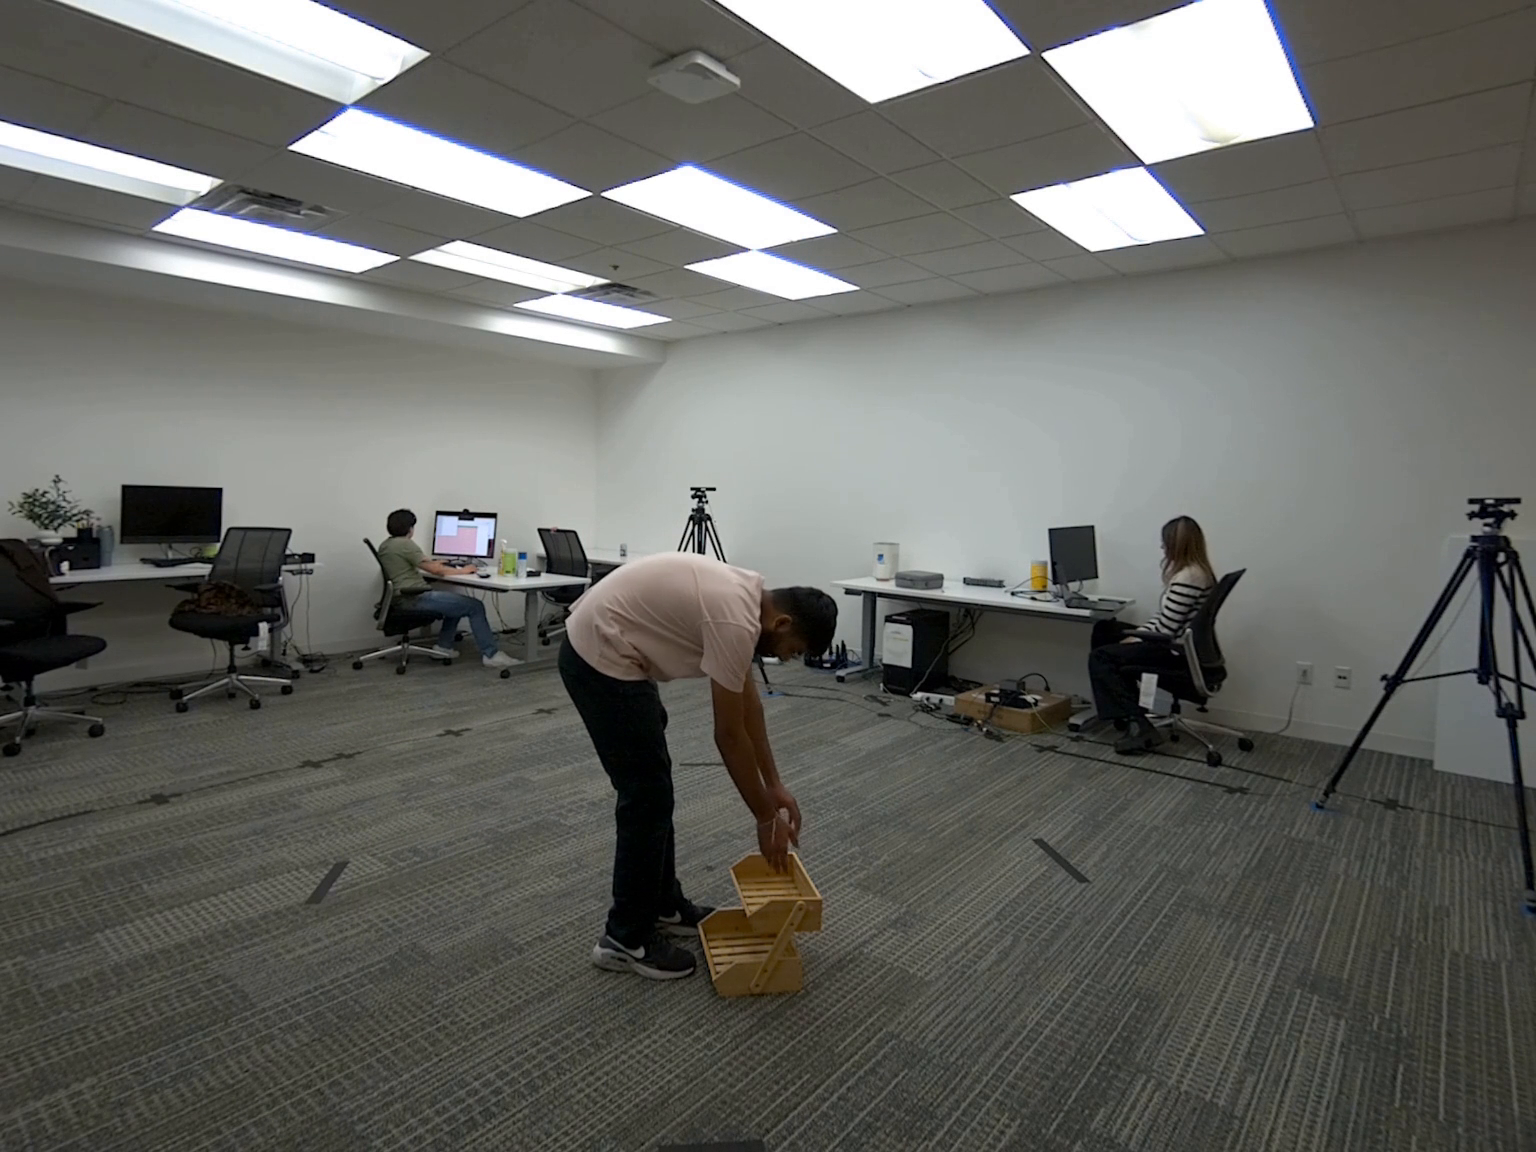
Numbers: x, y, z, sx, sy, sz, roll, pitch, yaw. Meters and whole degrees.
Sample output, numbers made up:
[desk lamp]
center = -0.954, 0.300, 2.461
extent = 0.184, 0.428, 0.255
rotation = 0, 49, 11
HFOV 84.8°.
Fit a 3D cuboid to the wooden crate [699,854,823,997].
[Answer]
[wooden crate]
center = -0.043, 1.004, 2.474
extent = 0.298, 0.272, 0.330
rotation = 2, 5, -12
